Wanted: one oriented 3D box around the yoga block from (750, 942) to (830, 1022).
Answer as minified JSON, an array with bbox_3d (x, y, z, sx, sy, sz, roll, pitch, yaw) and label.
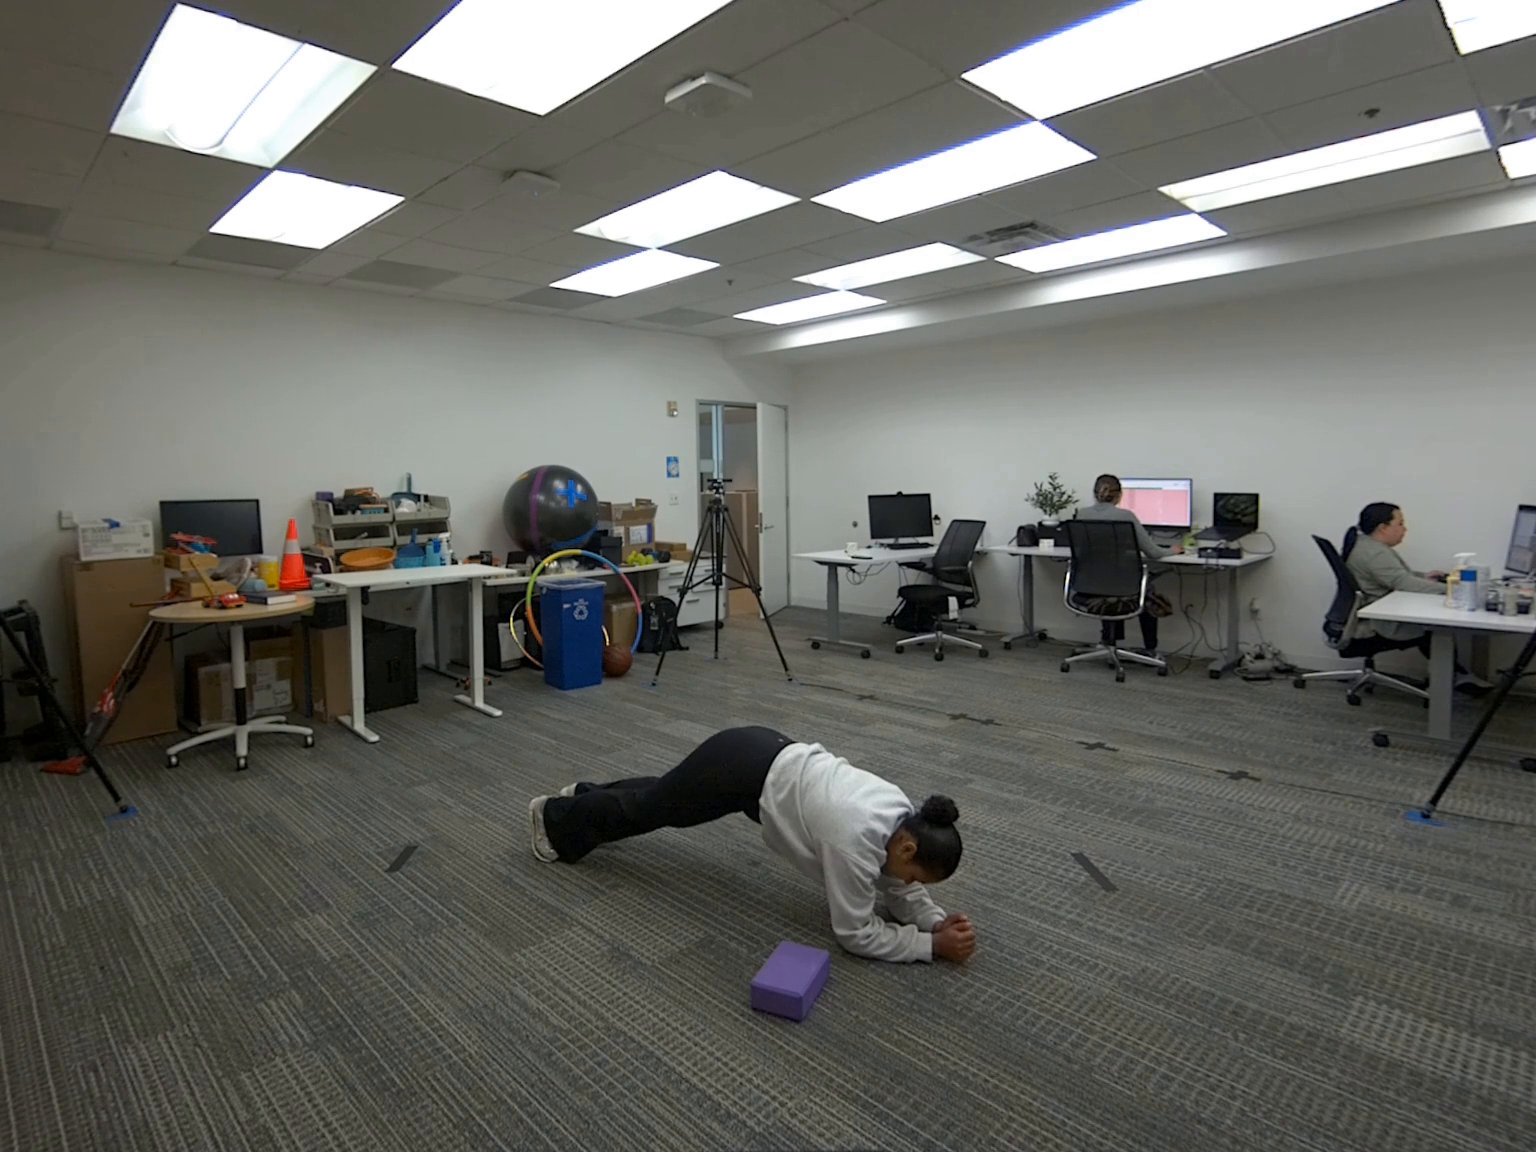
[{"bbox_3d":[0.069,1.102,2.316,0.152,0.076,0.225,2,7,25],"label":"yoga block"}]
